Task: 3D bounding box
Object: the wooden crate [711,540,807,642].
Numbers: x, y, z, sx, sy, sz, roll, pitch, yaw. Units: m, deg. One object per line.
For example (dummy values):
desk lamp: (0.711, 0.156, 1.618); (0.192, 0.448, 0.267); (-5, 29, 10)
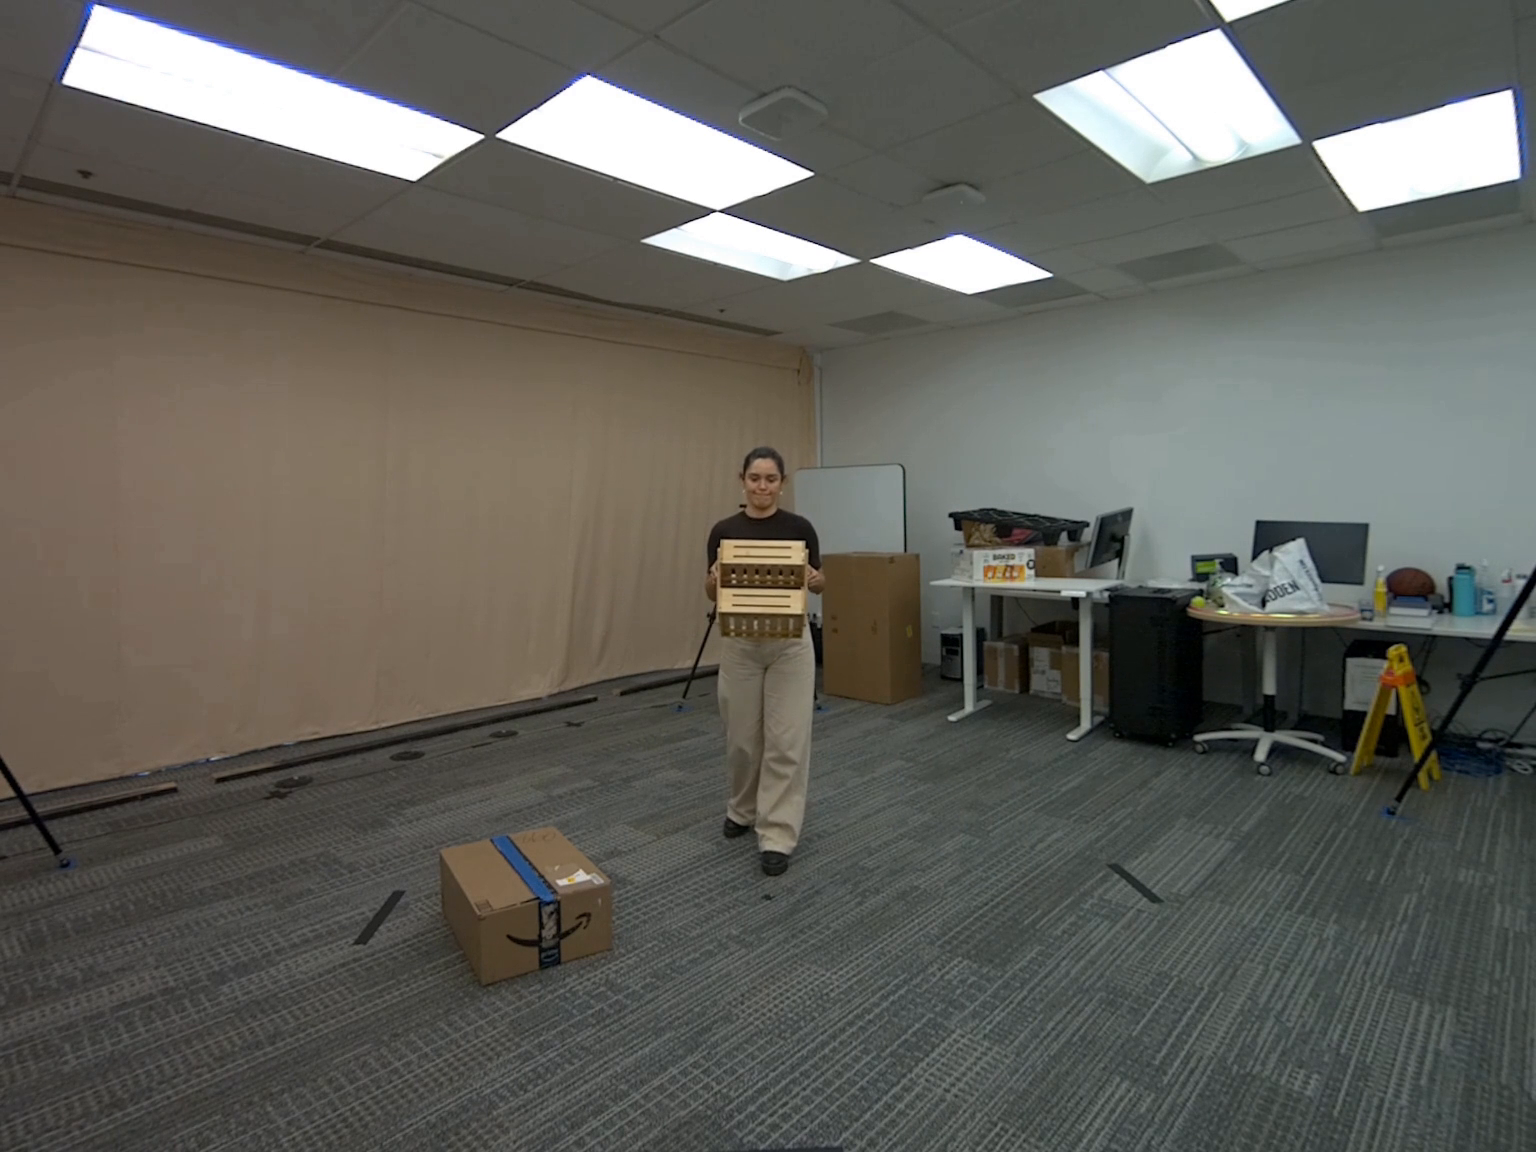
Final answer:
wooden crate: (-0.028, 0.057, 3.084); (0.326, 0.277, 0.296); (1, -26, 3)
